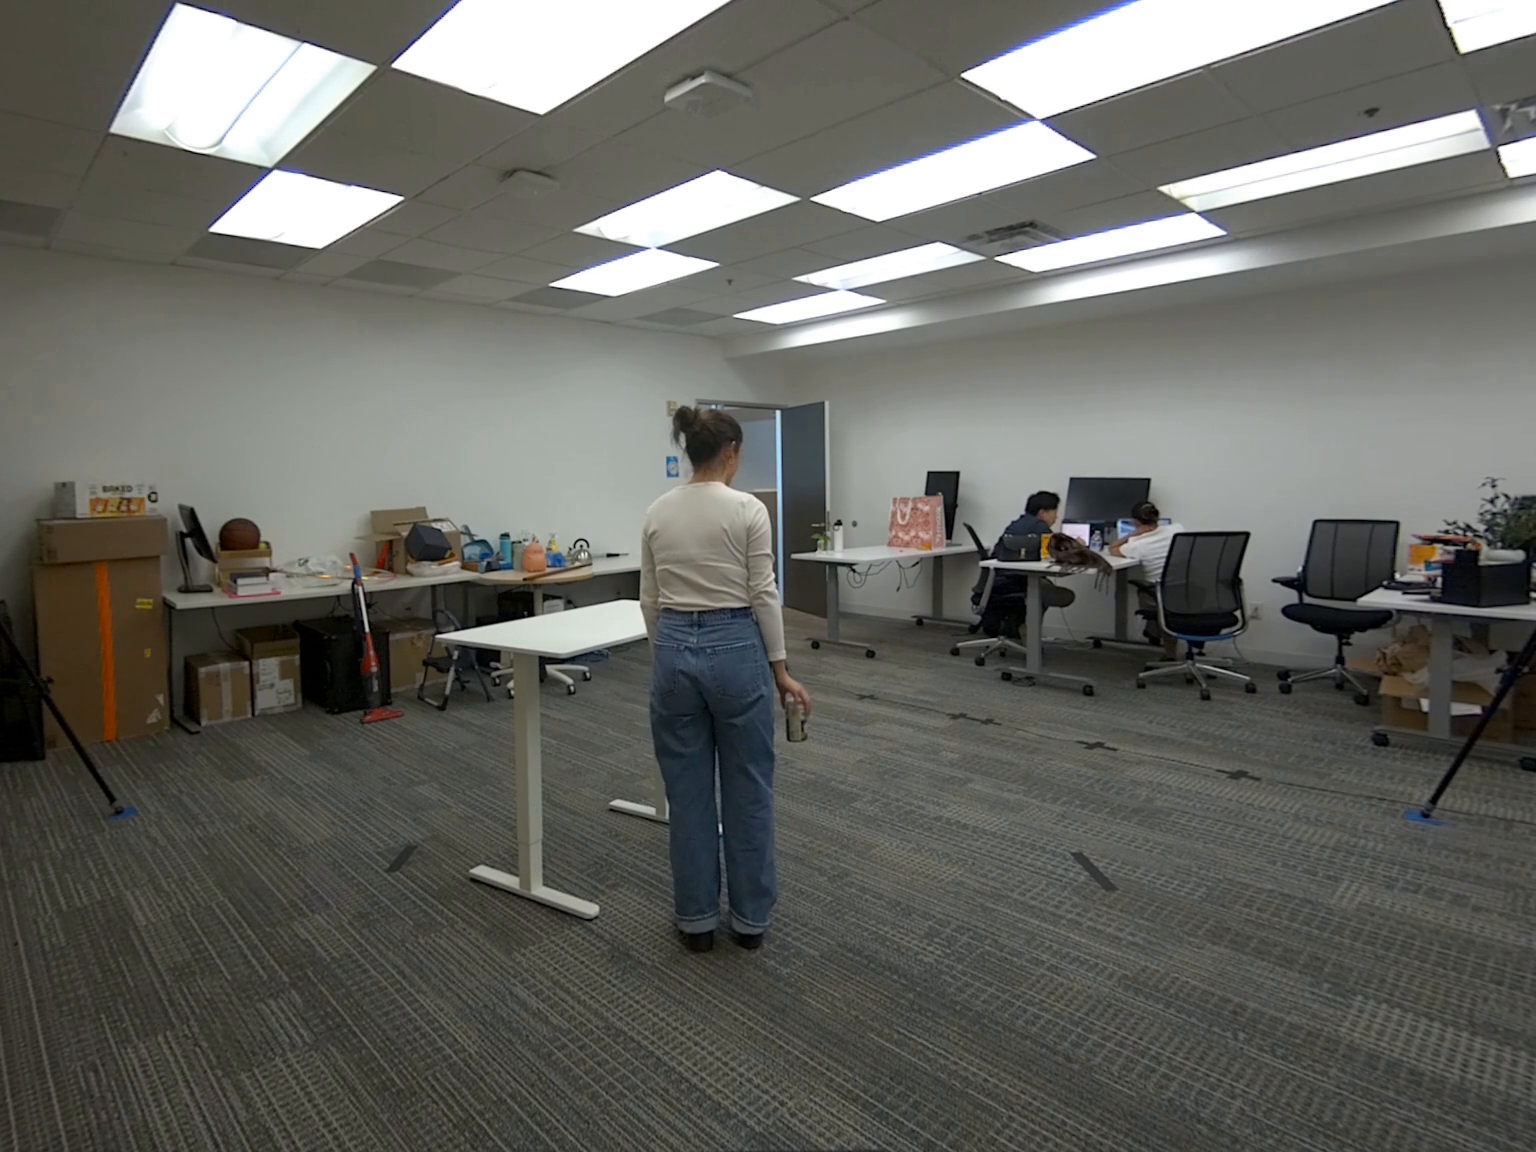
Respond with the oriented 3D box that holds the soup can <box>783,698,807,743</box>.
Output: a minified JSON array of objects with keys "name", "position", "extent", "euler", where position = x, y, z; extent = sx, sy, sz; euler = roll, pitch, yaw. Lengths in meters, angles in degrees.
[{"name":"soup can","position":[0.083,0.440,2.586],"extent":[0.067,0.121,0.067],"euler":[-4,0,-2]}]
